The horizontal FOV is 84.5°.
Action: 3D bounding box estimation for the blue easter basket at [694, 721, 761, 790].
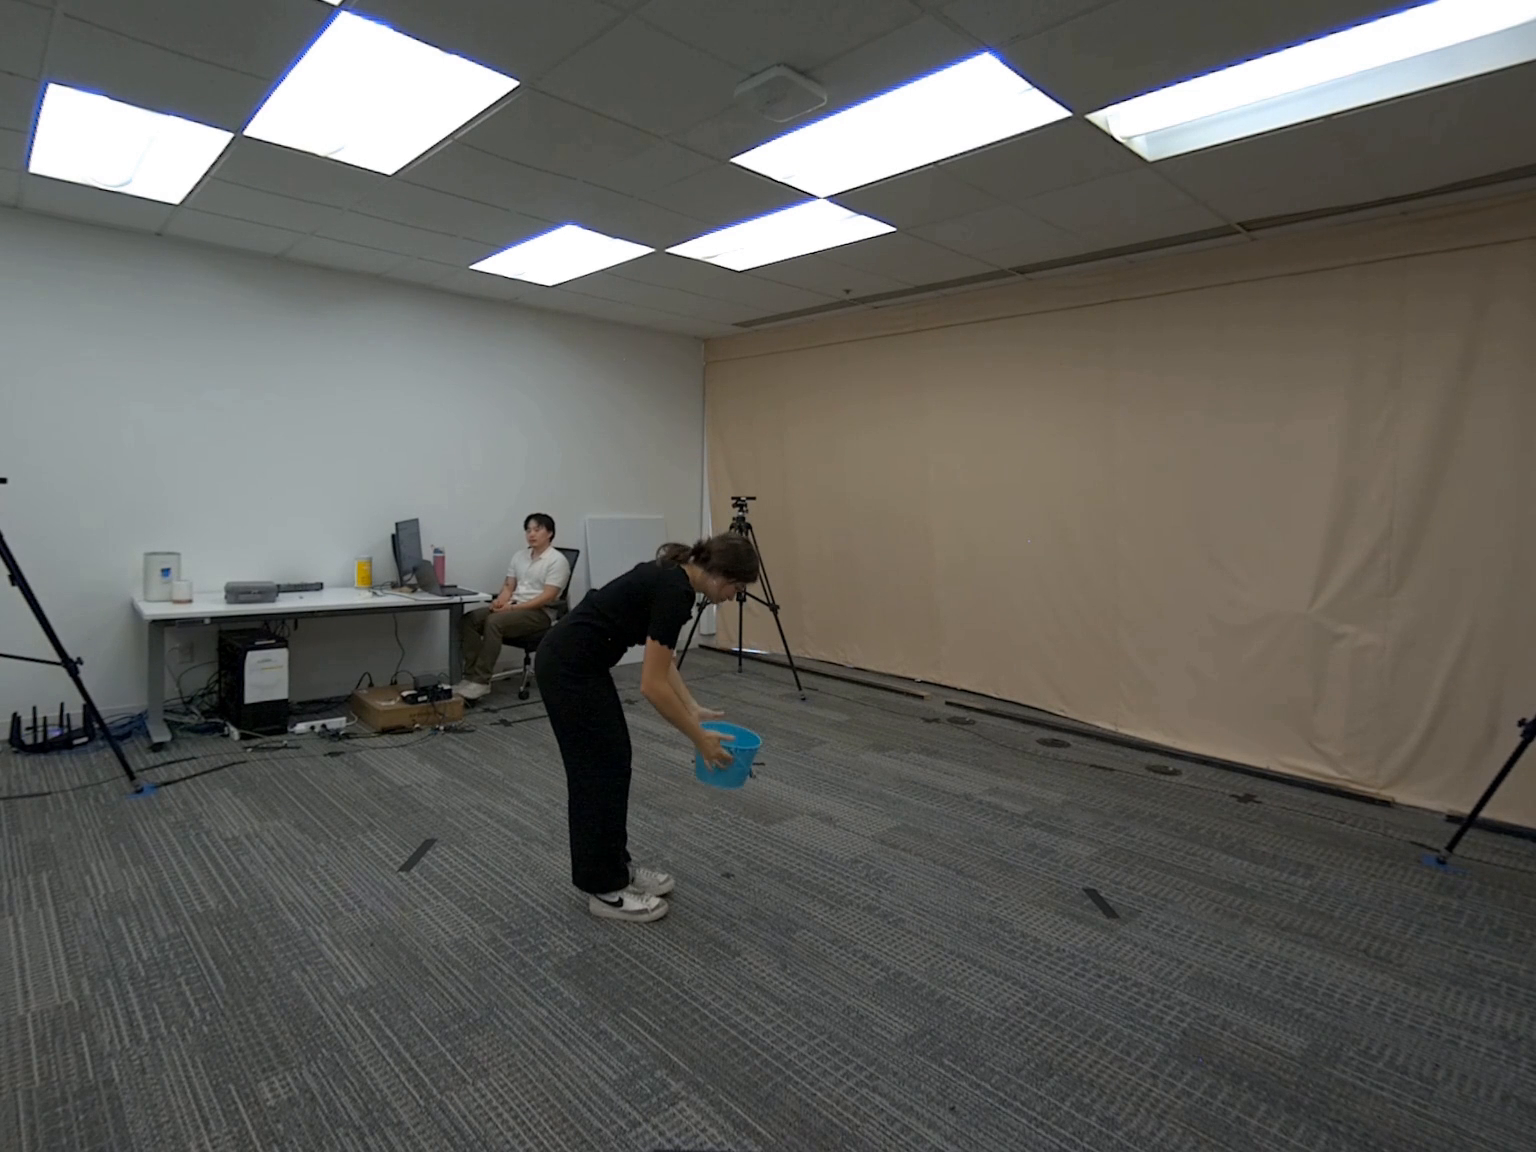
[{"bbox_3d":[-0.155,0.618,2.867,0.243,0.155,0.245,11,7,-3],"label":"blue easter basket"}]
